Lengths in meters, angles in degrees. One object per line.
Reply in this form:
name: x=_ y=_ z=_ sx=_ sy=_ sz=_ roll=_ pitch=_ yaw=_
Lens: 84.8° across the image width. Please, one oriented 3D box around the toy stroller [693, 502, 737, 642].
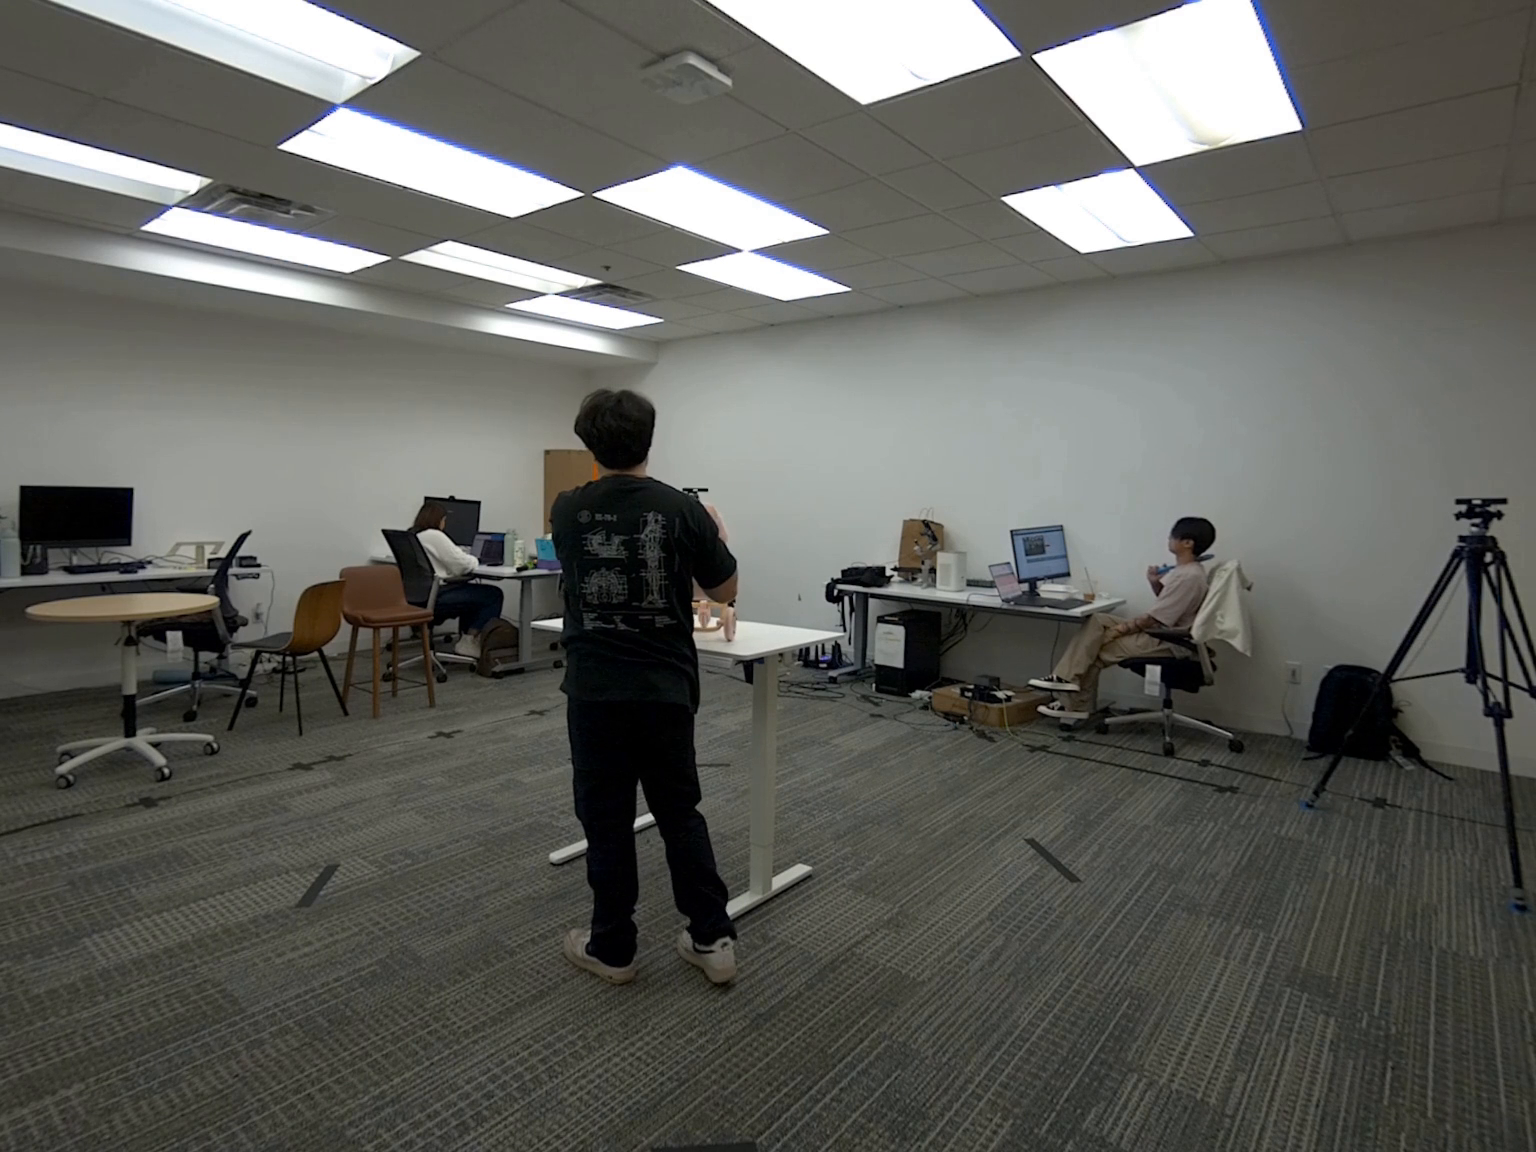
toy stroller: x=-0.247 y=-0.018 z=2.901 sx=0.285 sy=0.526 sz=0.343 roll=2 pitch=18 yaw=9
